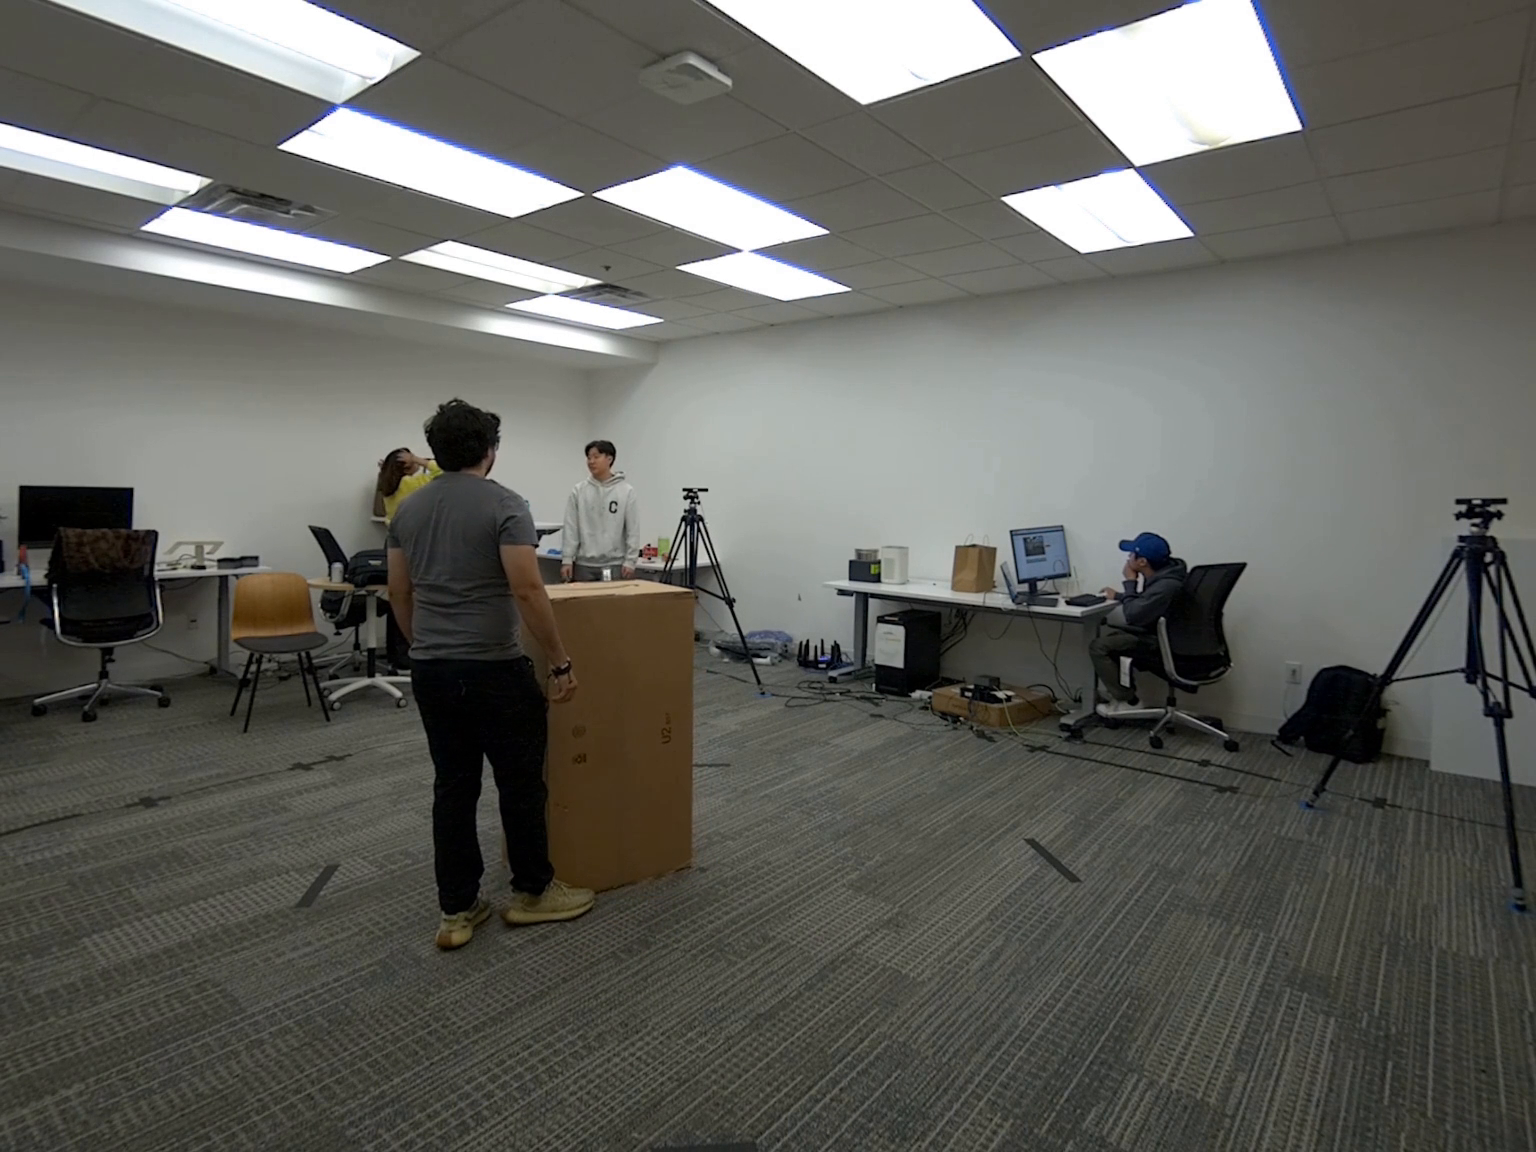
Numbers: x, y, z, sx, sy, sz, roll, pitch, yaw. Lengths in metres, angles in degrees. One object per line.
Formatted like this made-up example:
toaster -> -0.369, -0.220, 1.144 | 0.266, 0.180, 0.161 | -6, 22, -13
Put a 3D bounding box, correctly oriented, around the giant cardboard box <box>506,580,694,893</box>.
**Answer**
giant cardboard box -> -0.632, 0.556, 3.116 | 0.567, 1.024, 0.462 | -1, 5, -38
